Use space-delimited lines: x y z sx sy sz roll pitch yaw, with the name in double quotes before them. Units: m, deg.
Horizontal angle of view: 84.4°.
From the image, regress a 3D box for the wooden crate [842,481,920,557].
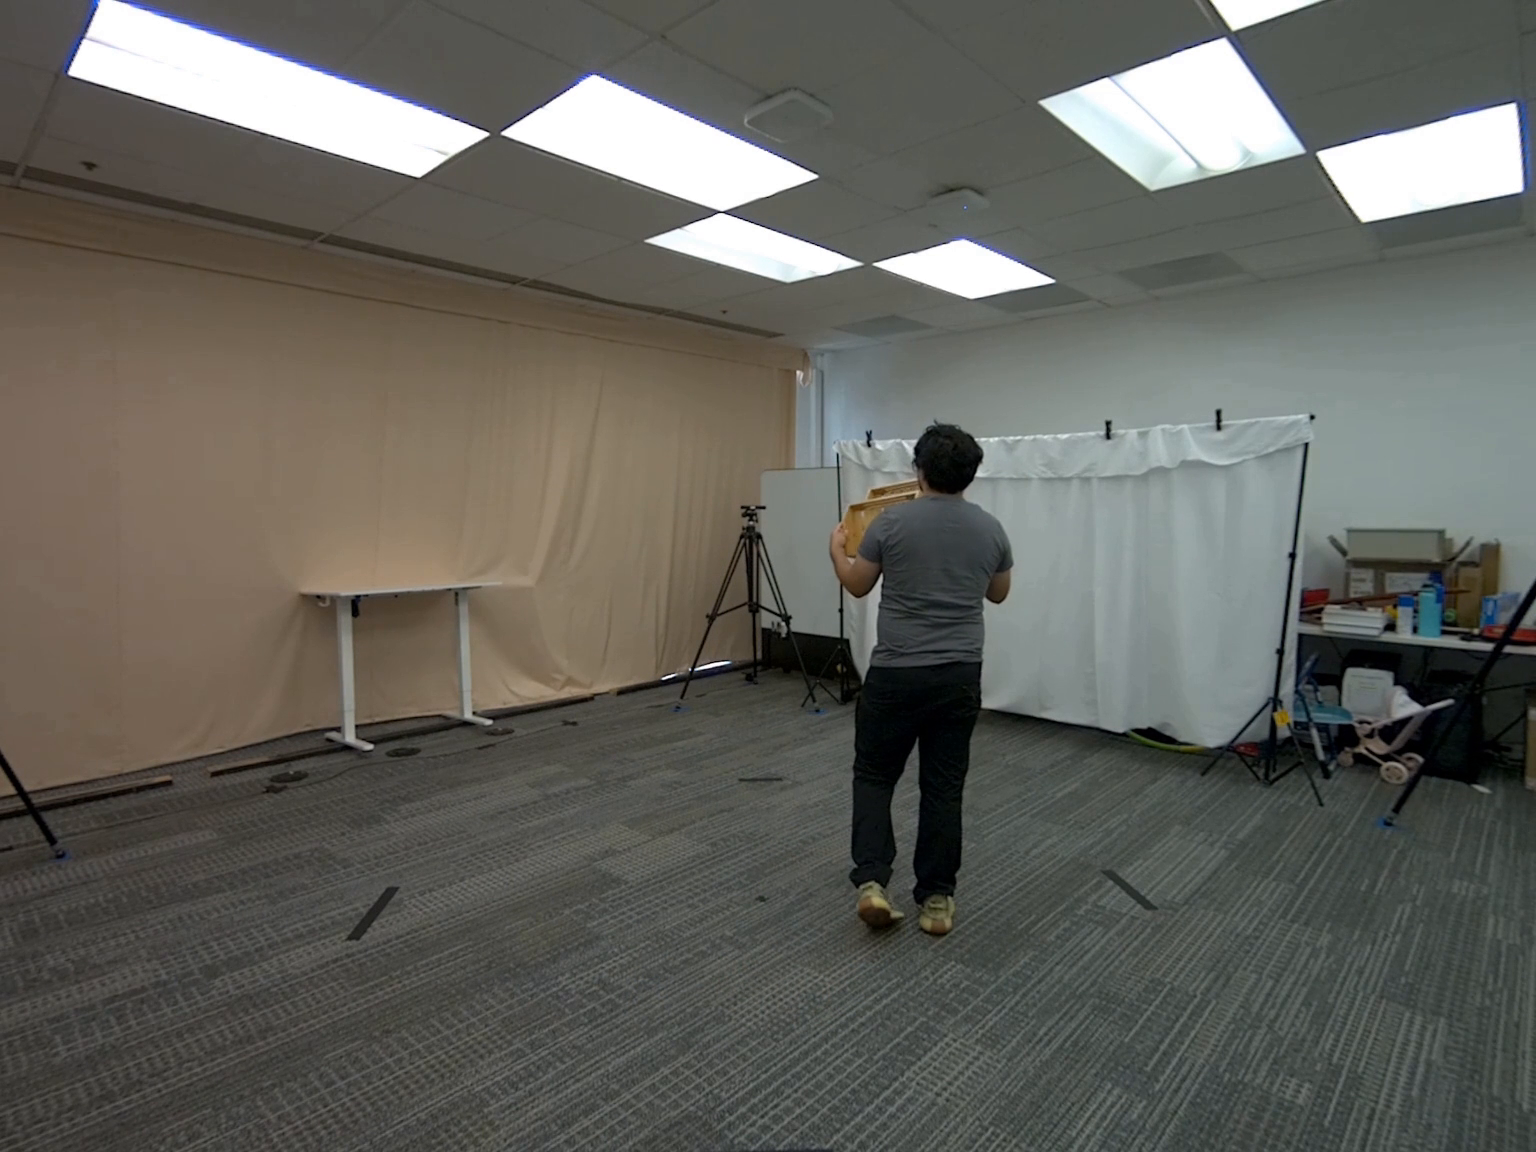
"wooden crate" 0.478 -0.227 3.185 0.333 0.304 0.264 -9 -11 38
